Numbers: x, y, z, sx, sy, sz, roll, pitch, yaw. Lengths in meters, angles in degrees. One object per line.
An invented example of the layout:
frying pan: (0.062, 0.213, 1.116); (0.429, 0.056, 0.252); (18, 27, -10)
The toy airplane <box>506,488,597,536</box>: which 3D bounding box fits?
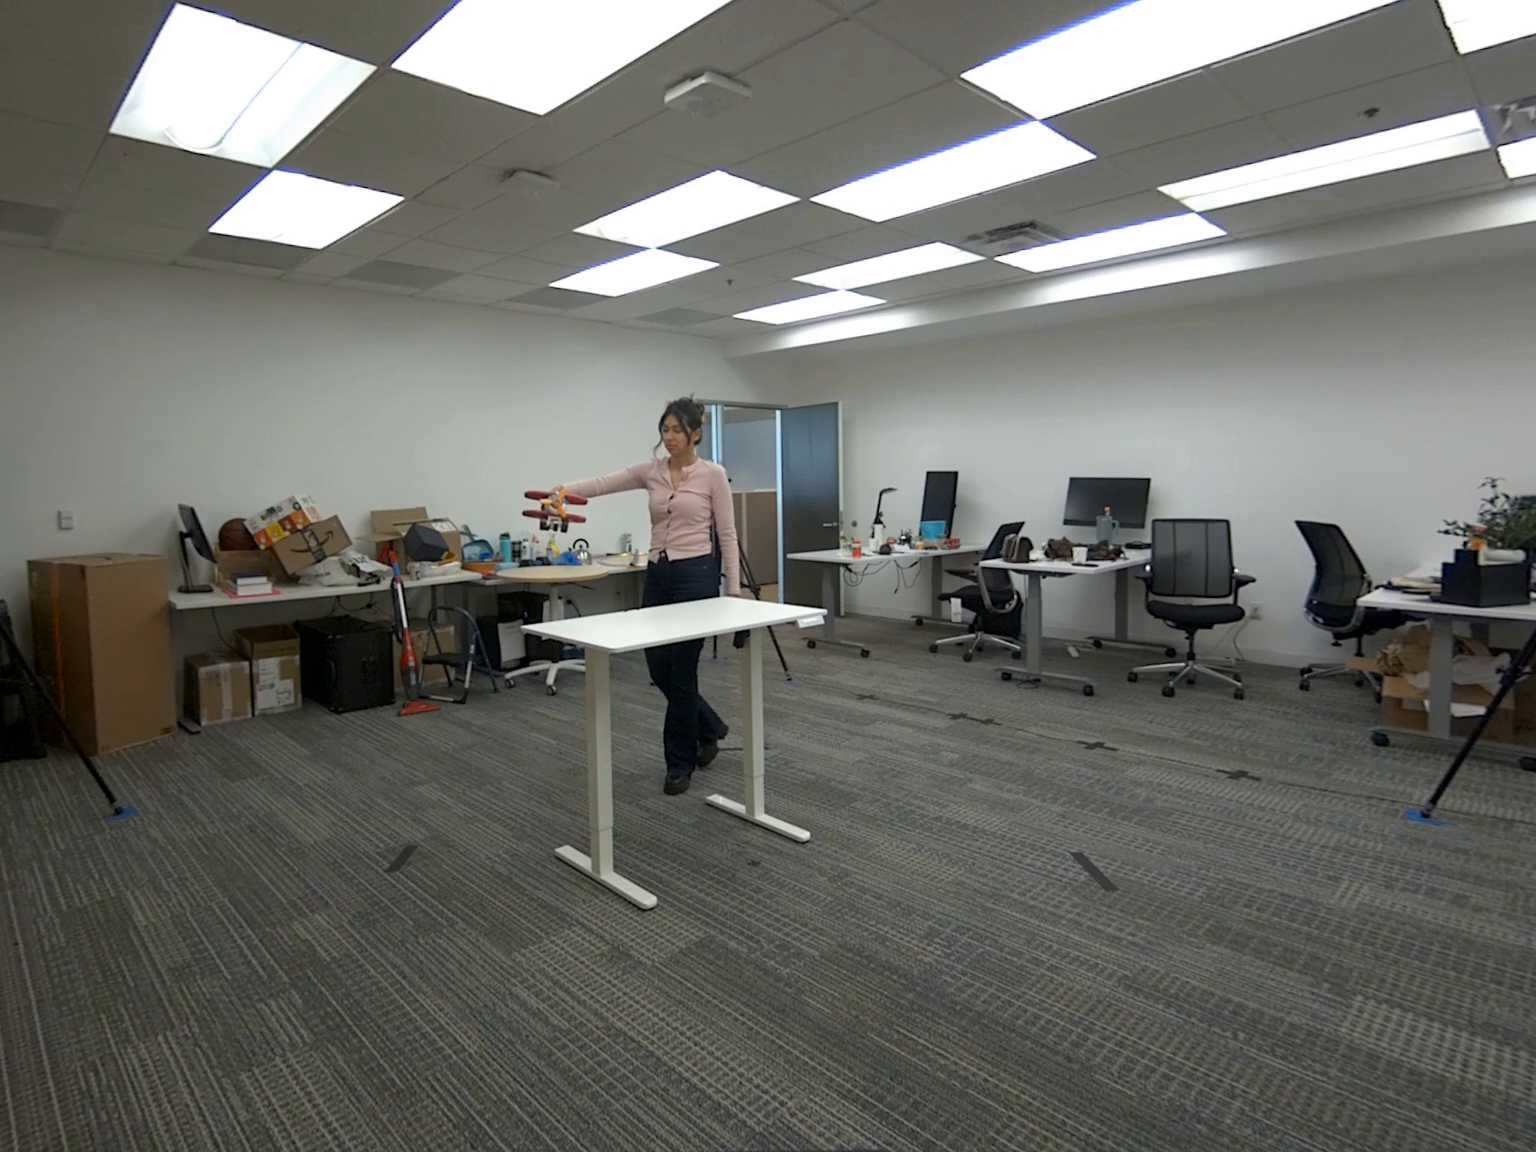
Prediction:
toy airplane: (-0.884, -0.263, 3.487); (0.243, 0.156, 0.267); (5, 2, -40)
